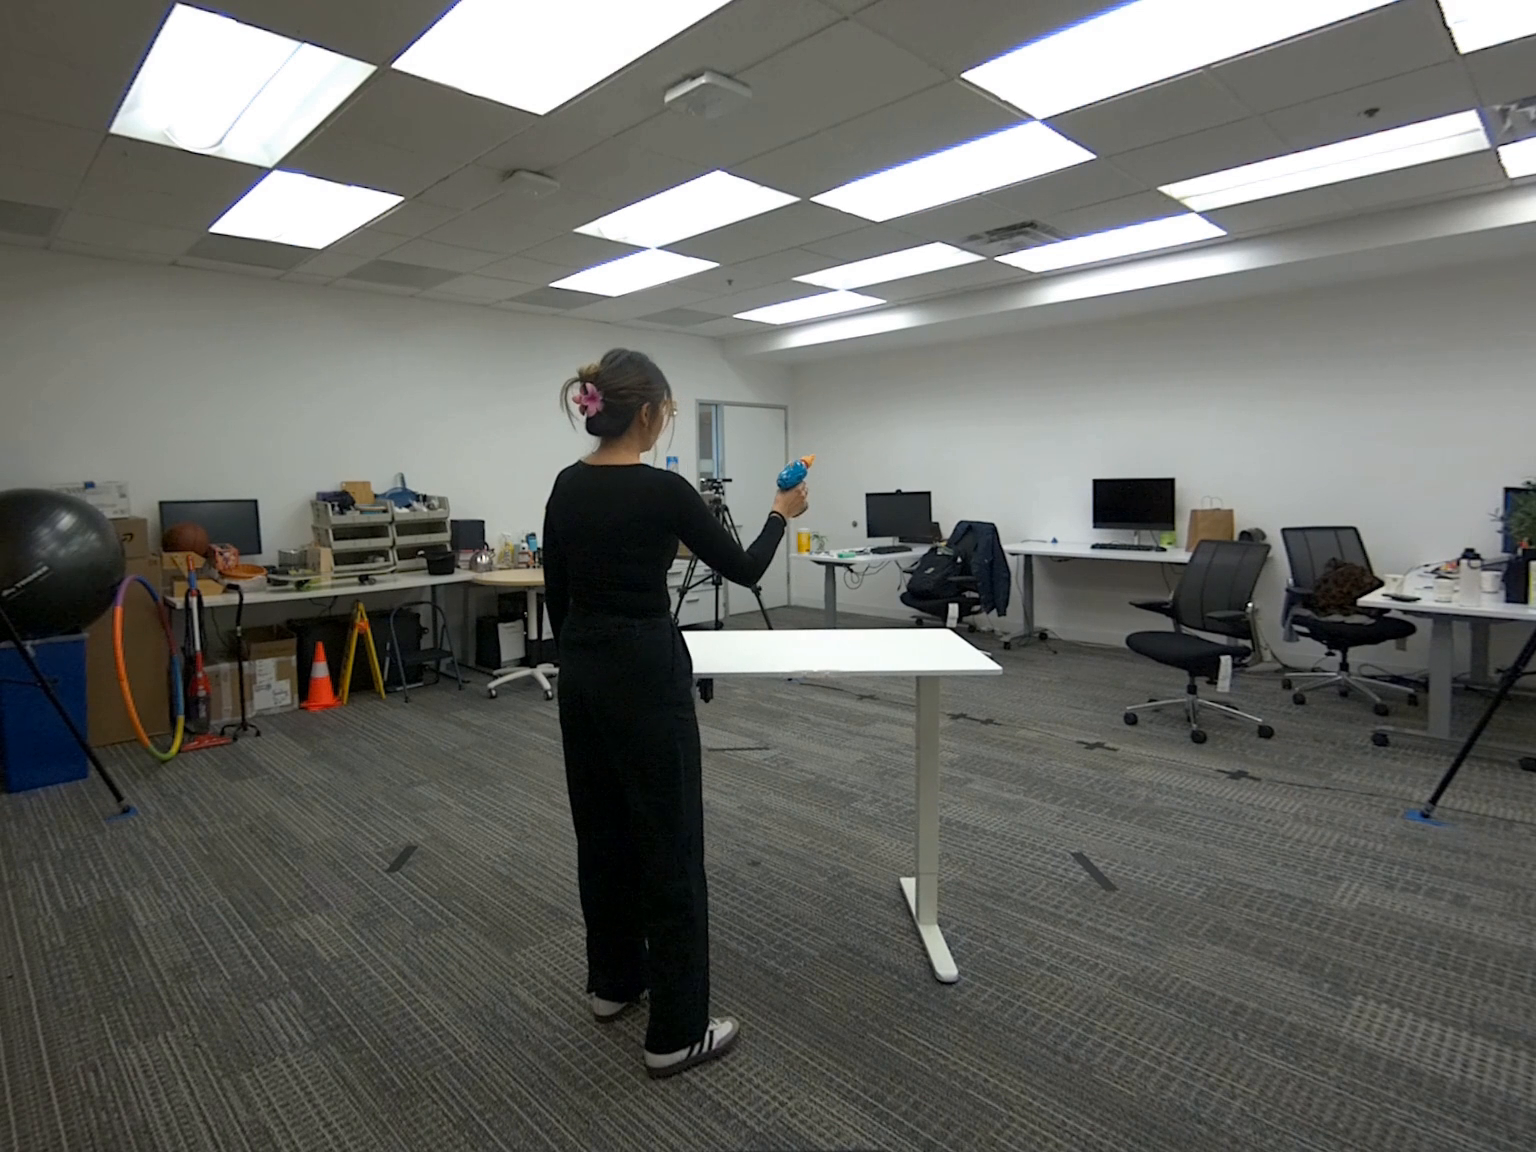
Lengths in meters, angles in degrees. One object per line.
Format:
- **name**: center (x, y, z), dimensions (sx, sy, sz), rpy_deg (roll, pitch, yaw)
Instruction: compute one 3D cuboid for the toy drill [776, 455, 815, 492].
- **toy drill**: center (0.091, -0.263, 2.390), dimensions (0.063, 0.141, 0.169), rpy_deg (15, 44, 33)
